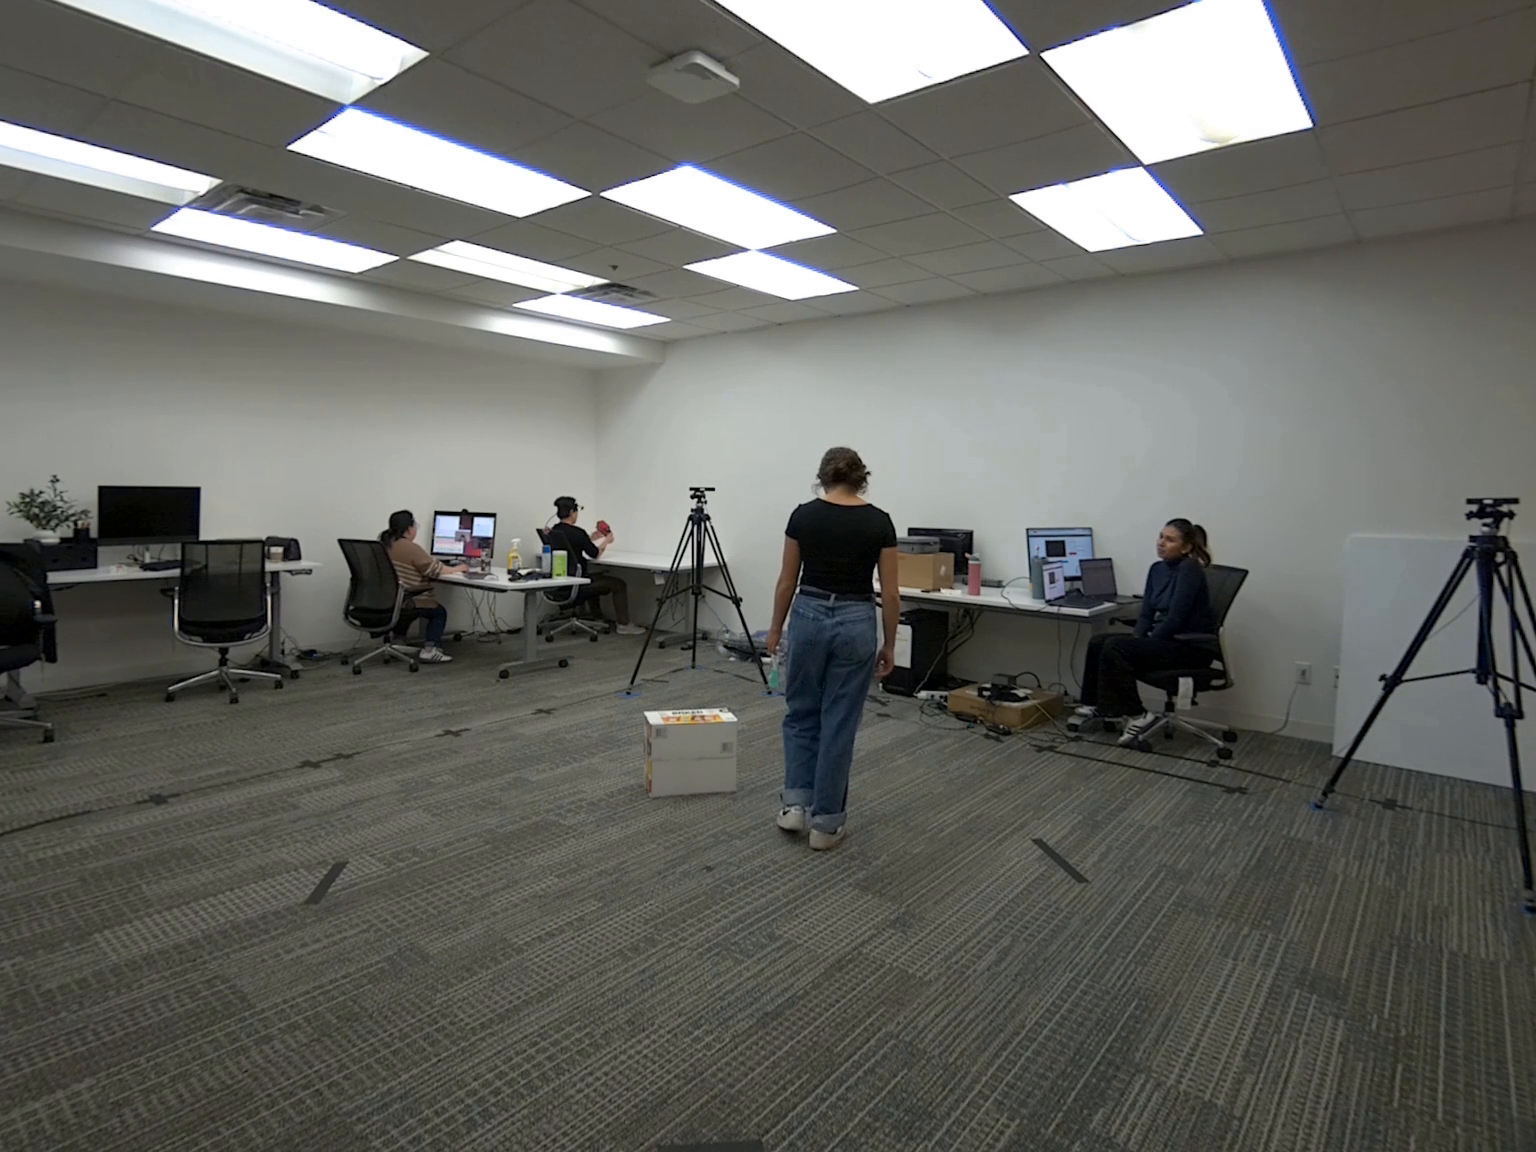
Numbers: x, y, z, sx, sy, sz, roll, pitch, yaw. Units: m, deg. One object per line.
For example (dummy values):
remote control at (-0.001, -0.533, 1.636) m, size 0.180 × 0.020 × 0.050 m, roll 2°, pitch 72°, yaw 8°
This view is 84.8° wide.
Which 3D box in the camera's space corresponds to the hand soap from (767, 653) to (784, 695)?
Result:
hand soap at (0.018, 0.379, 3.590) m, size 0.043 × 0.168 × 0.085 m, roll 4°, pitch 2°, yaw -8°
